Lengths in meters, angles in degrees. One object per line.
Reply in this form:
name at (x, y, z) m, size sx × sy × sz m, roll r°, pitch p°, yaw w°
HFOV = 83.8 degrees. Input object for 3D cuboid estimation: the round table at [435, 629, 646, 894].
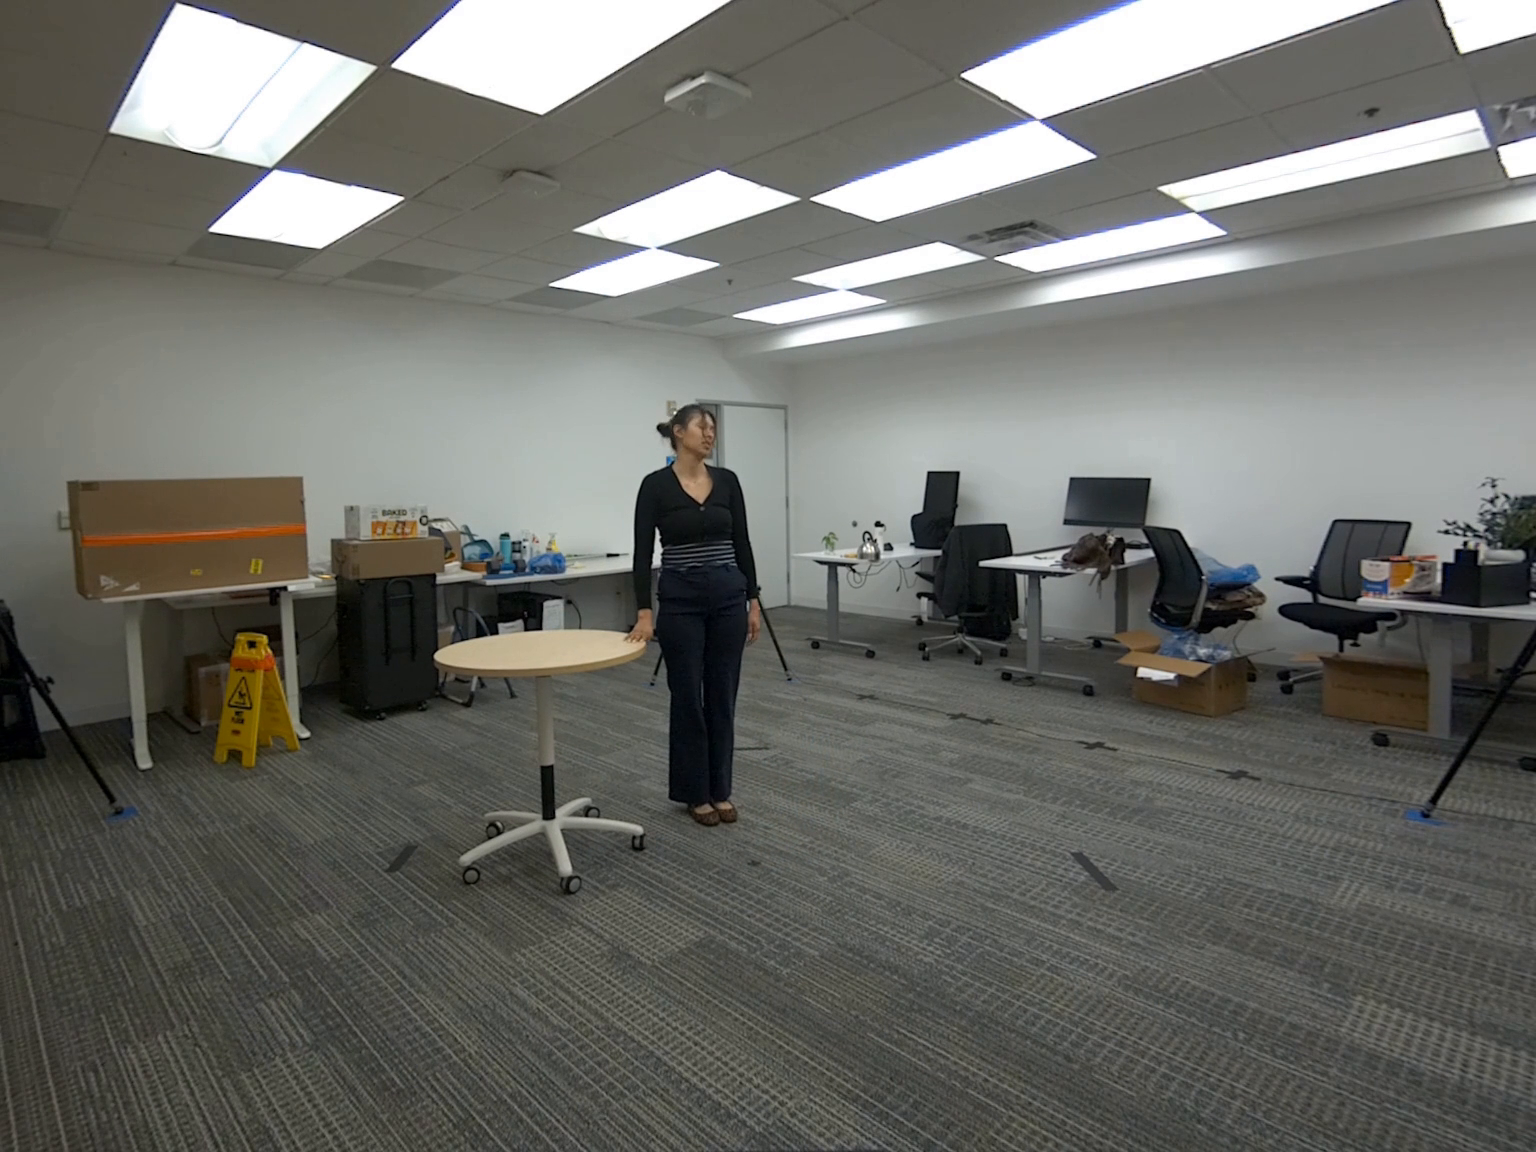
round table at (-0.816, 0.657, 3.183) m, size 0.763 × 0.791 × 0.768 m, roll -2°, pitch 5°, yaw -1°
